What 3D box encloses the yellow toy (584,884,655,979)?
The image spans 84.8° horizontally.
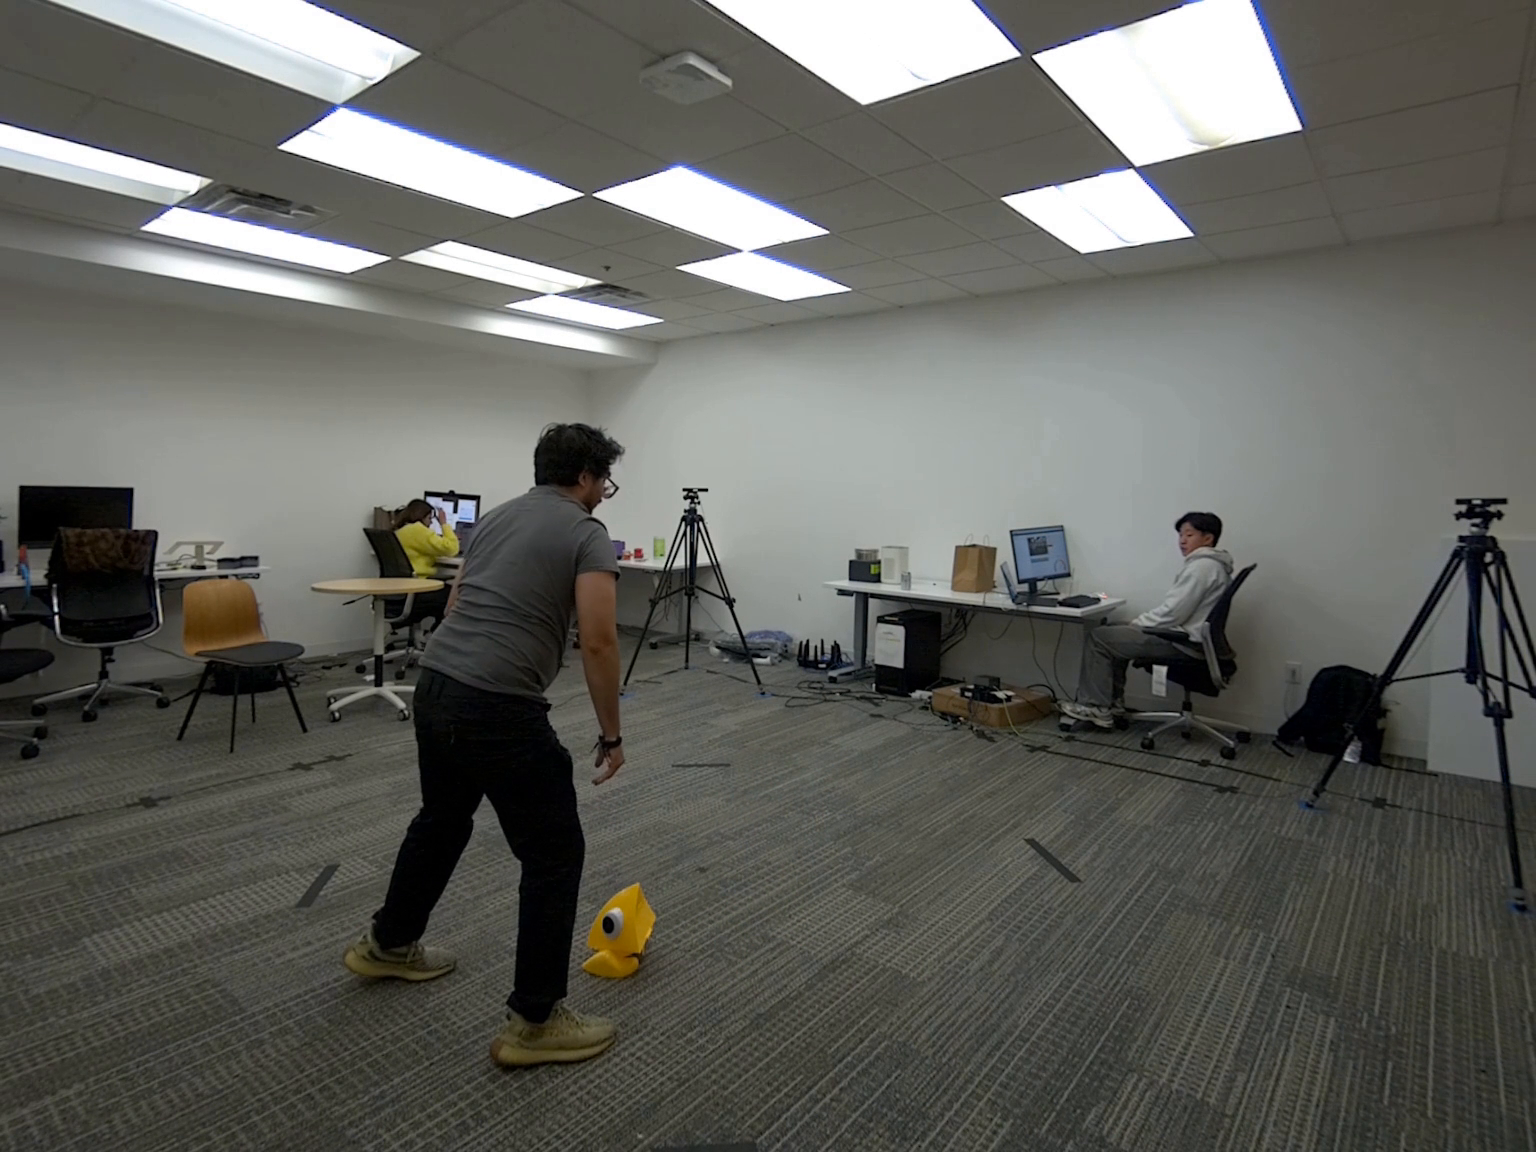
[{"bbox_3d":[-0.450,1.012,2.503,0.195,0.230,0.204,2,4,7],"label":"yellow toy"}]
